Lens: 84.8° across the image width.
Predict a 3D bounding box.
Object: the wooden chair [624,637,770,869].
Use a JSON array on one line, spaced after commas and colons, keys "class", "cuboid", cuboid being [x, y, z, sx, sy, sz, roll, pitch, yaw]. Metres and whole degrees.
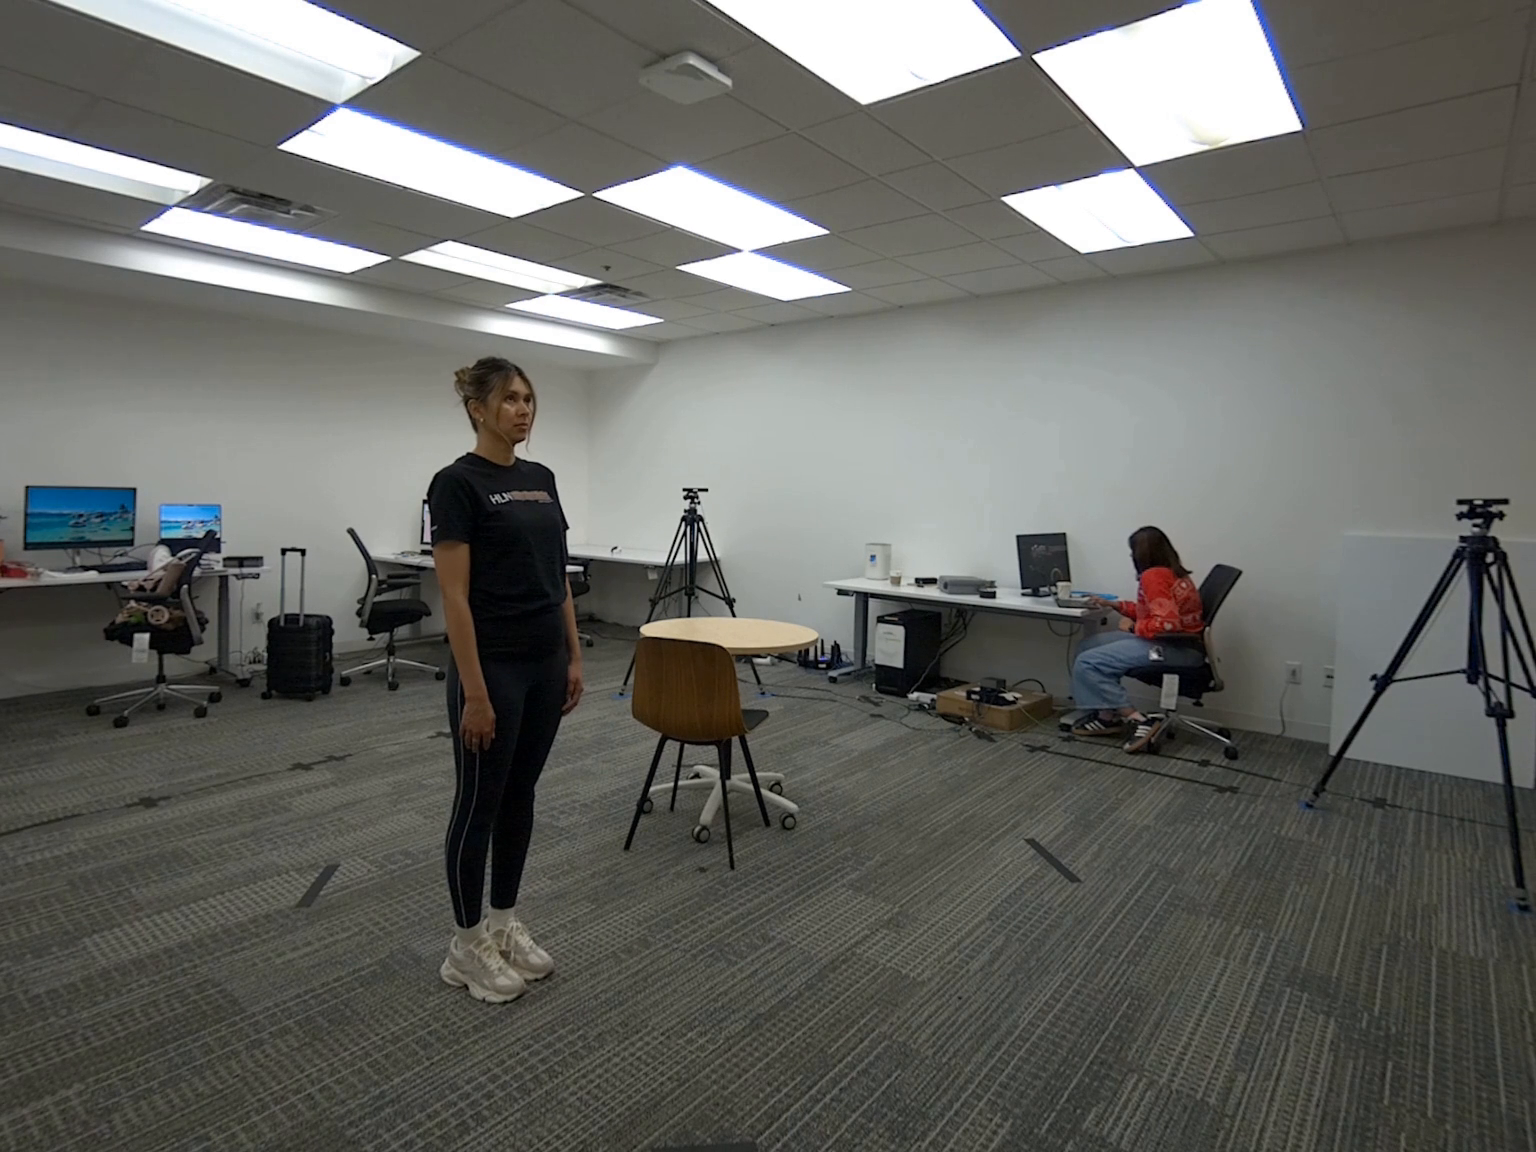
[{"class": "wooden chair", "cuboid": [-0.274, 0.615, 3.371, 0.489, 0.872, 0.515, 2, 7, 20]}]
